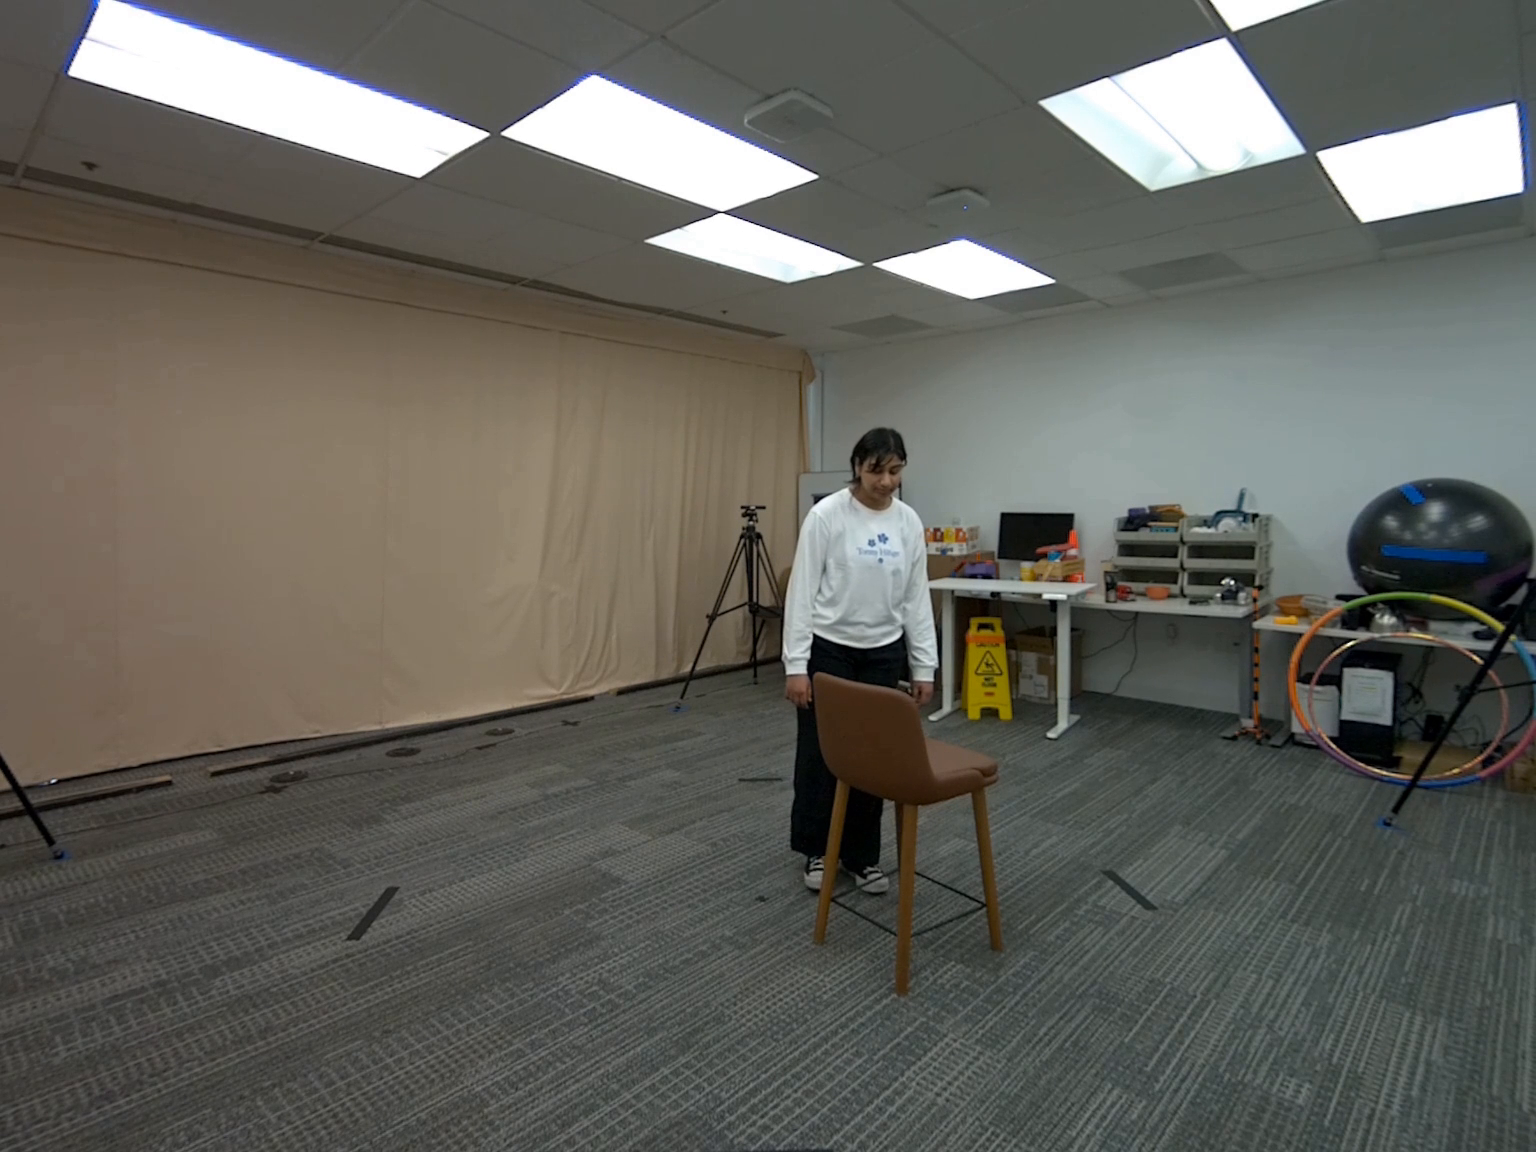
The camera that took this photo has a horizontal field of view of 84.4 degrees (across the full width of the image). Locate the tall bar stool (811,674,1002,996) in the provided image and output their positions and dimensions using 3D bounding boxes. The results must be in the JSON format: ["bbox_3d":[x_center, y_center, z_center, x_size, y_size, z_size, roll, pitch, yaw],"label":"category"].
[{"bbox_3d":[0.432,0.733,2.646,0.454,0.887,0.471,-5,5,-37],"label":"tall bar stool"}]
